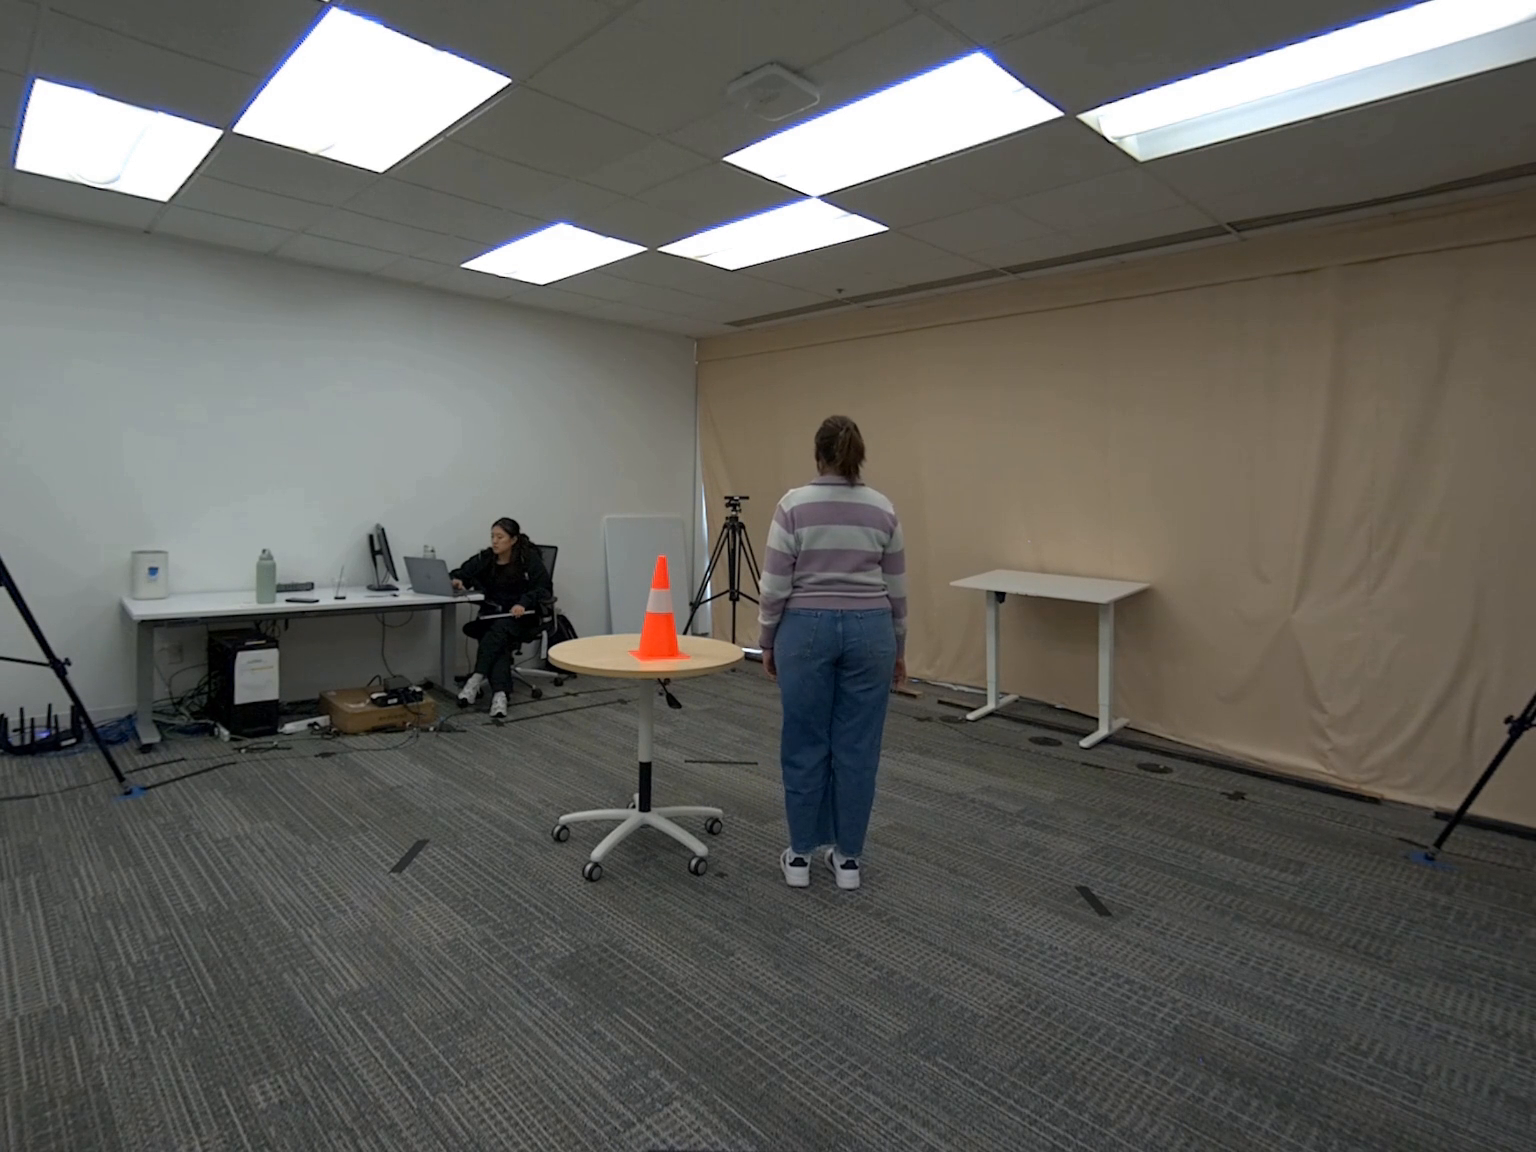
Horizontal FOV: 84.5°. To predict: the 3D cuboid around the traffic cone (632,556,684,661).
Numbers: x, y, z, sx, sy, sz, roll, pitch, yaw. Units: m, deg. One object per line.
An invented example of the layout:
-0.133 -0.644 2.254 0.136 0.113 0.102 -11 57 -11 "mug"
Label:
-0.419 0.114 3.222 0.201 0.383 0.207 1 2 -22 "traffic cone"
